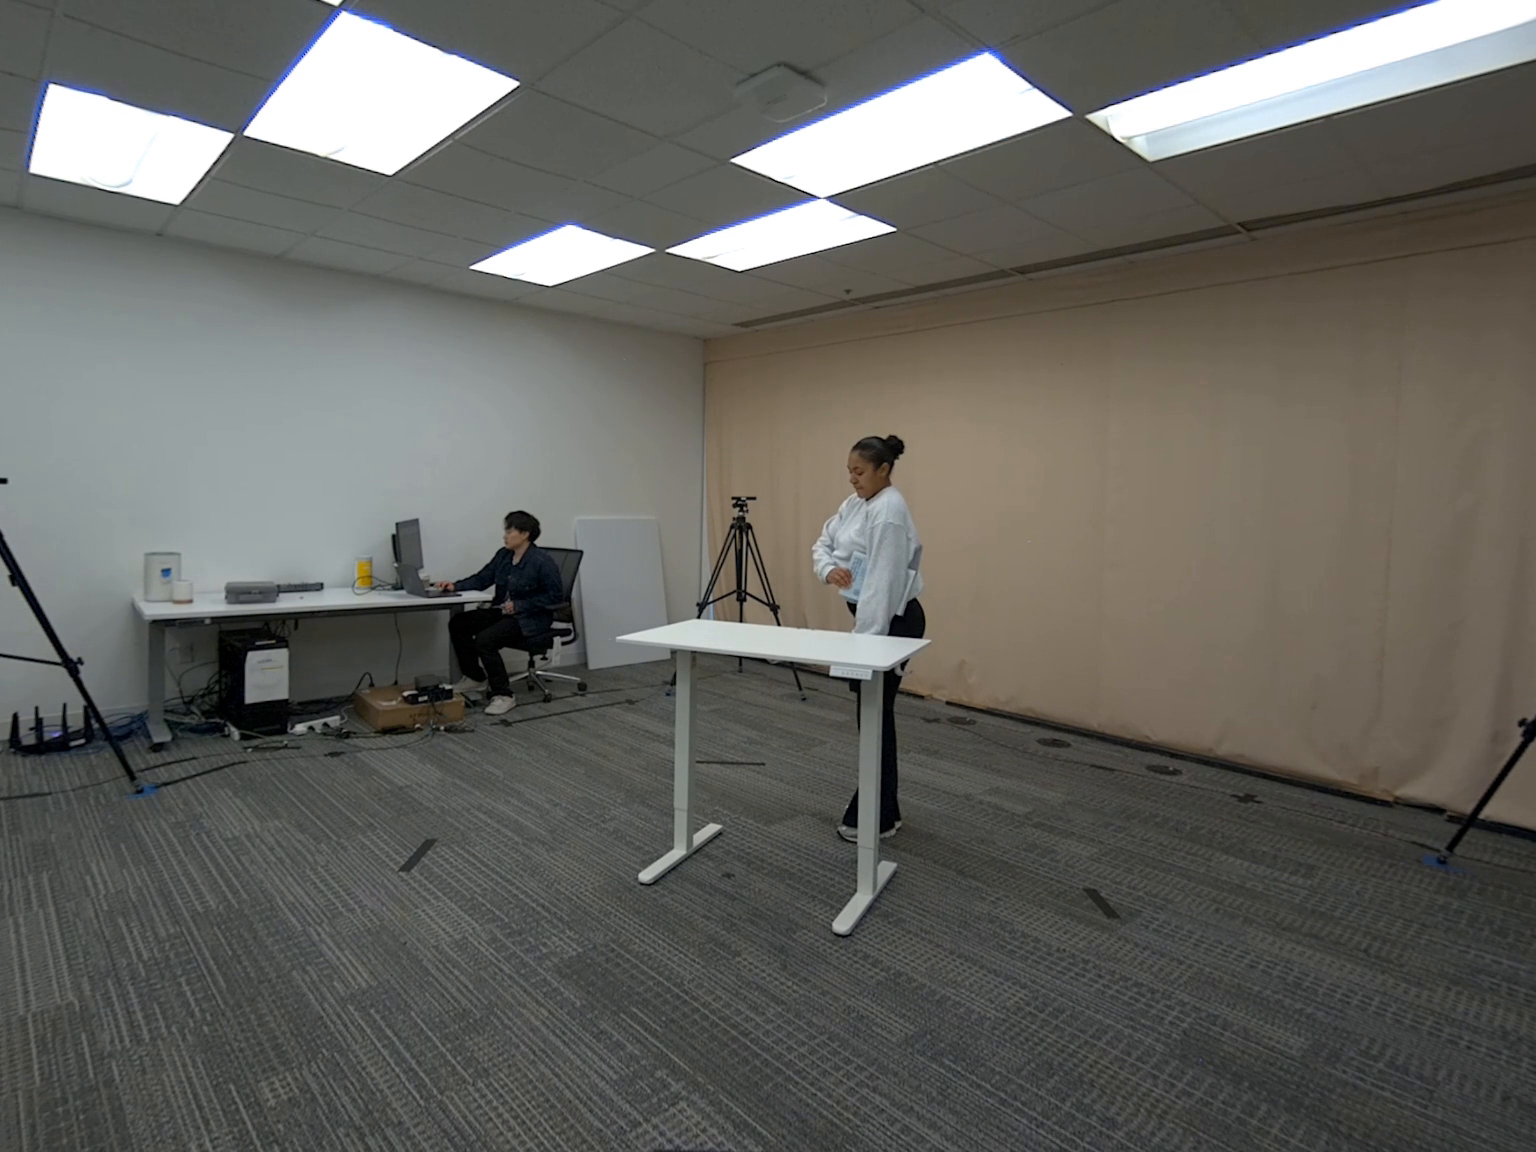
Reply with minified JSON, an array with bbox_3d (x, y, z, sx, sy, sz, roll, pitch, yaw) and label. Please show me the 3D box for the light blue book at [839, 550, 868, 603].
[{"bbox_3d":[0.439,0.033,3.408,0.265,0.191,0.058,21,-2,14],"label":"light blue book"}]
